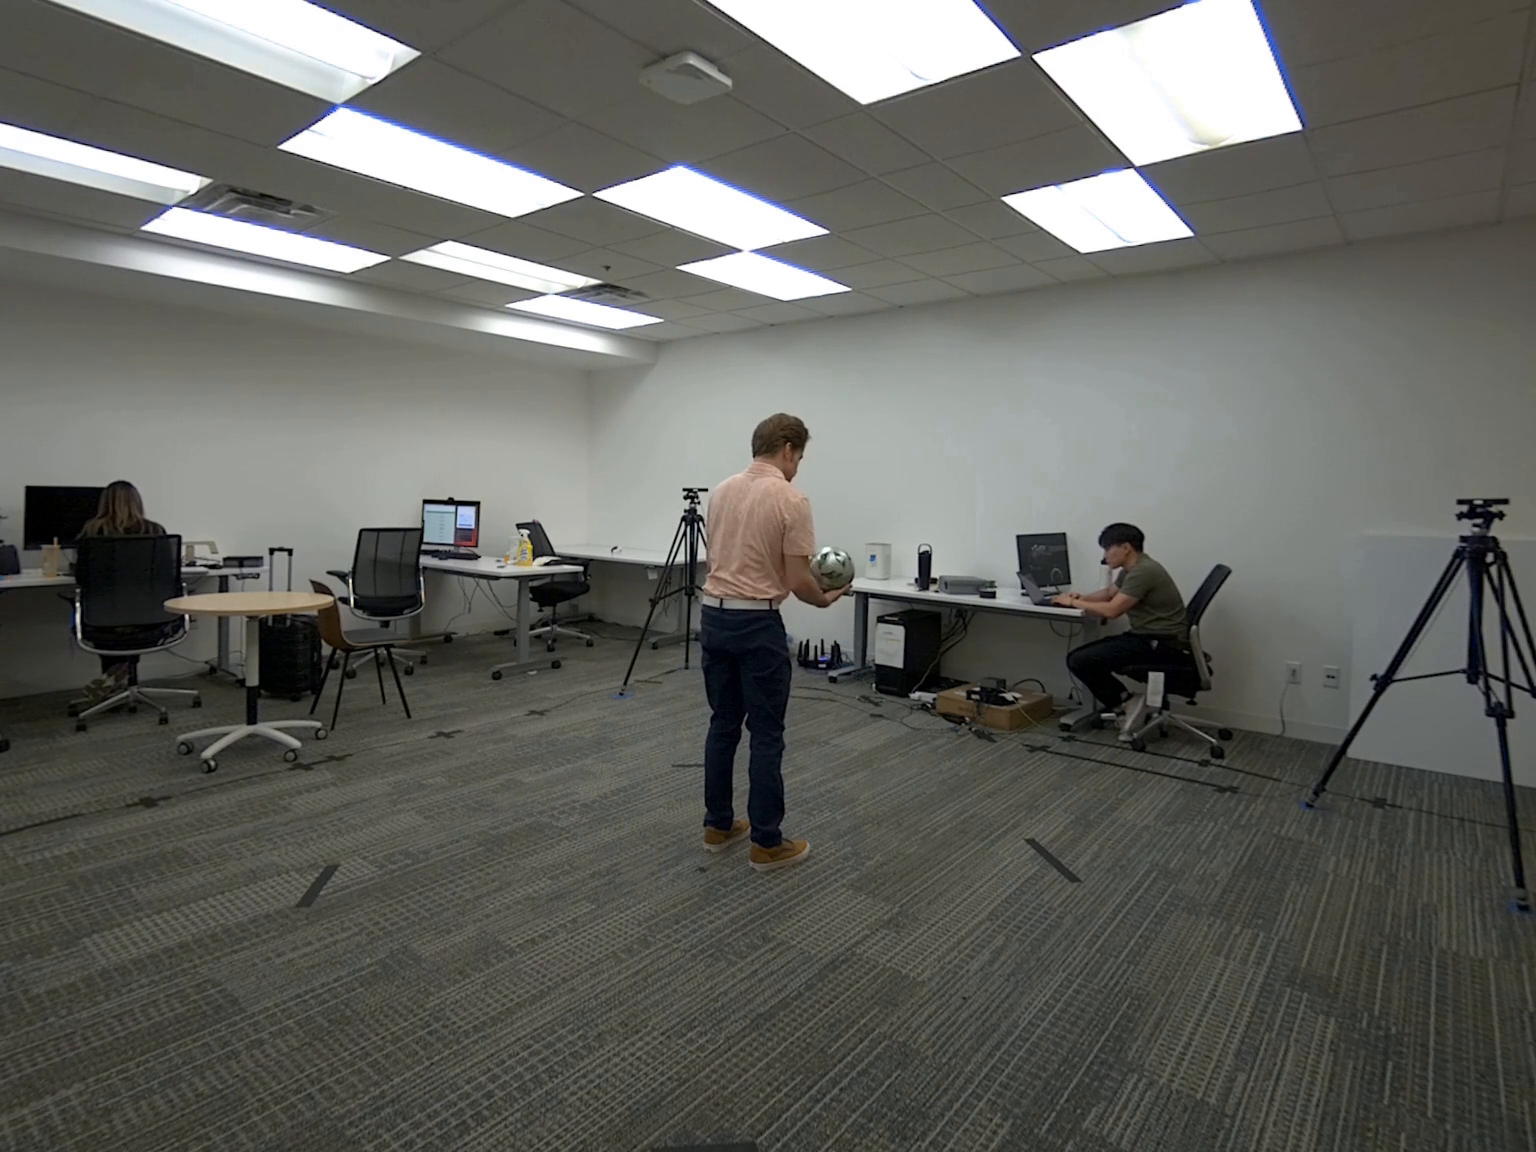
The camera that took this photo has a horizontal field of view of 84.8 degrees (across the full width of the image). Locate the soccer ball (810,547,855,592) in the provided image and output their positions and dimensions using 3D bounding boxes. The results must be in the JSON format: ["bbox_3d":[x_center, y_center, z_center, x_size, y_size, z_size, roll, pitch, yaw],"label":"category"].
[{"bbox_3d":[0.244,-0.007,3.399,0.187,0.187,0.188,1,4,-2],"label":"soccer ball"}]
